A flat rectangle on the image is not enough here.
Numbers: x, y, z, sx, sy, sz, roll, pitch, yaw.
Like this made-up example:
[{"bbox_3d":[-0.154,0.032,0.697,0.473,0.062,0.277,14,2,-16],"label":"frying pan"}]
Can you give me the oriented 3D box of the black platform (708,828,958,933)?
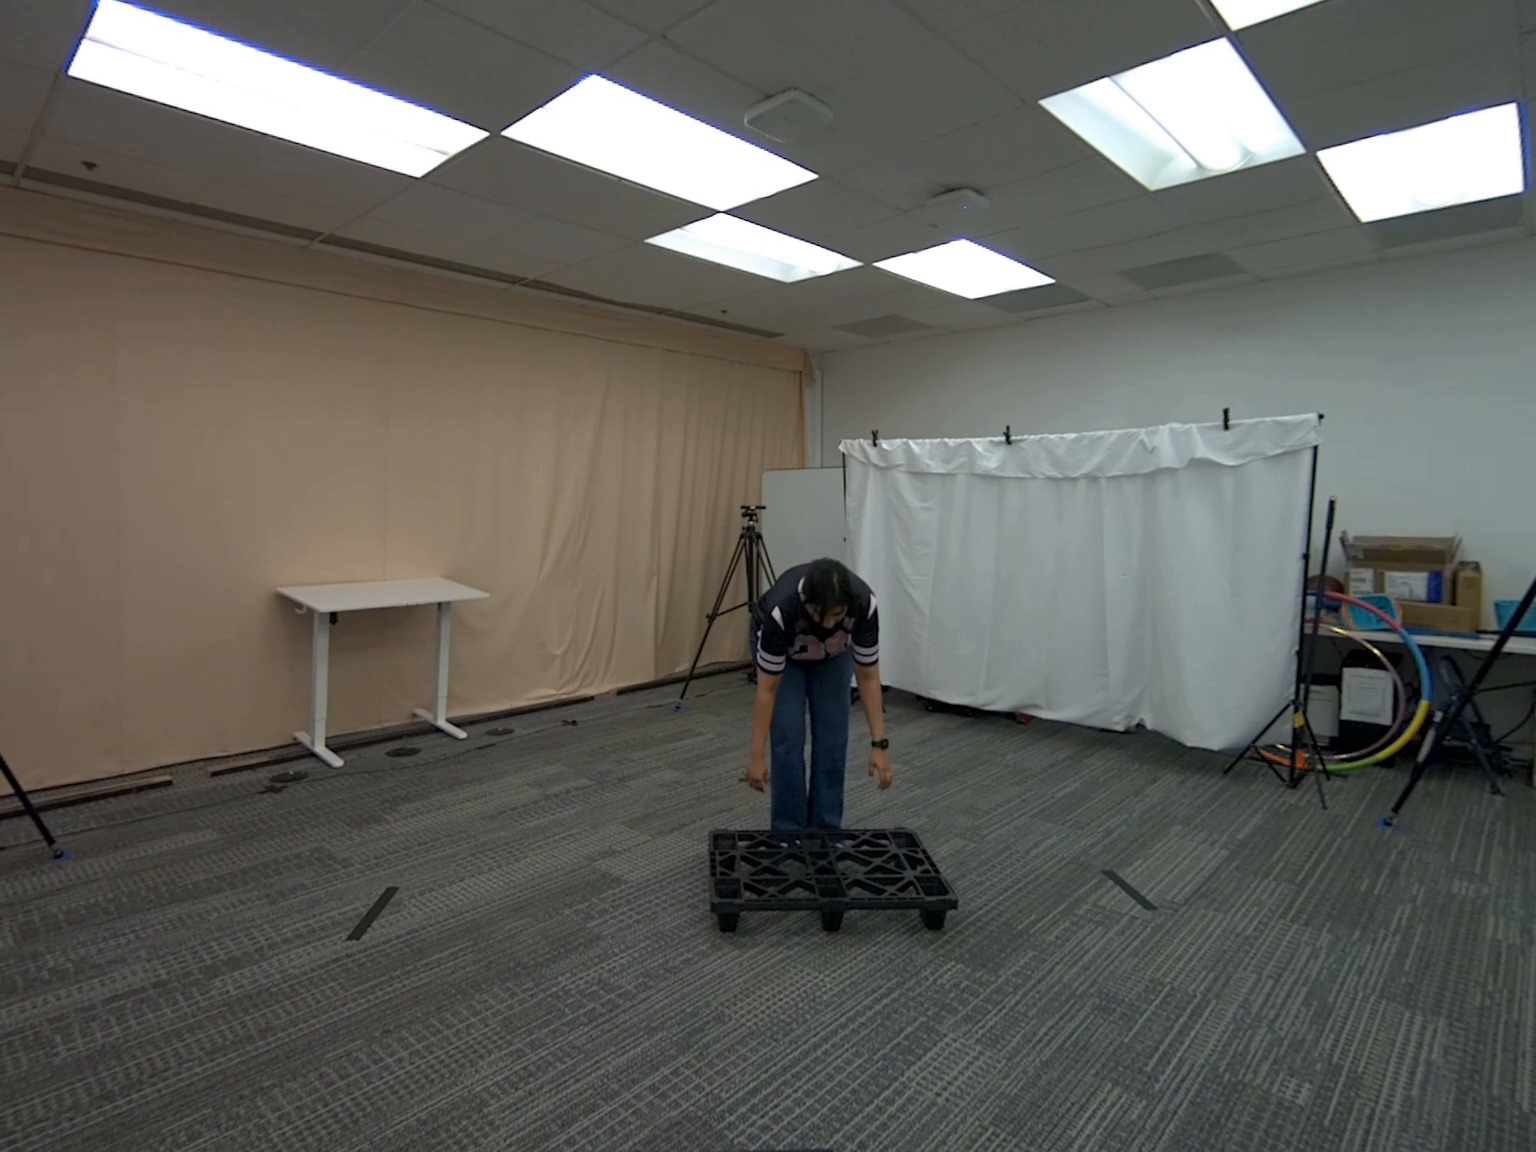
[{"bbox_3d":[0.197,1.074,2.978,0.804,0.143,0.608,0,5,-2],"label":"black platform"}]
